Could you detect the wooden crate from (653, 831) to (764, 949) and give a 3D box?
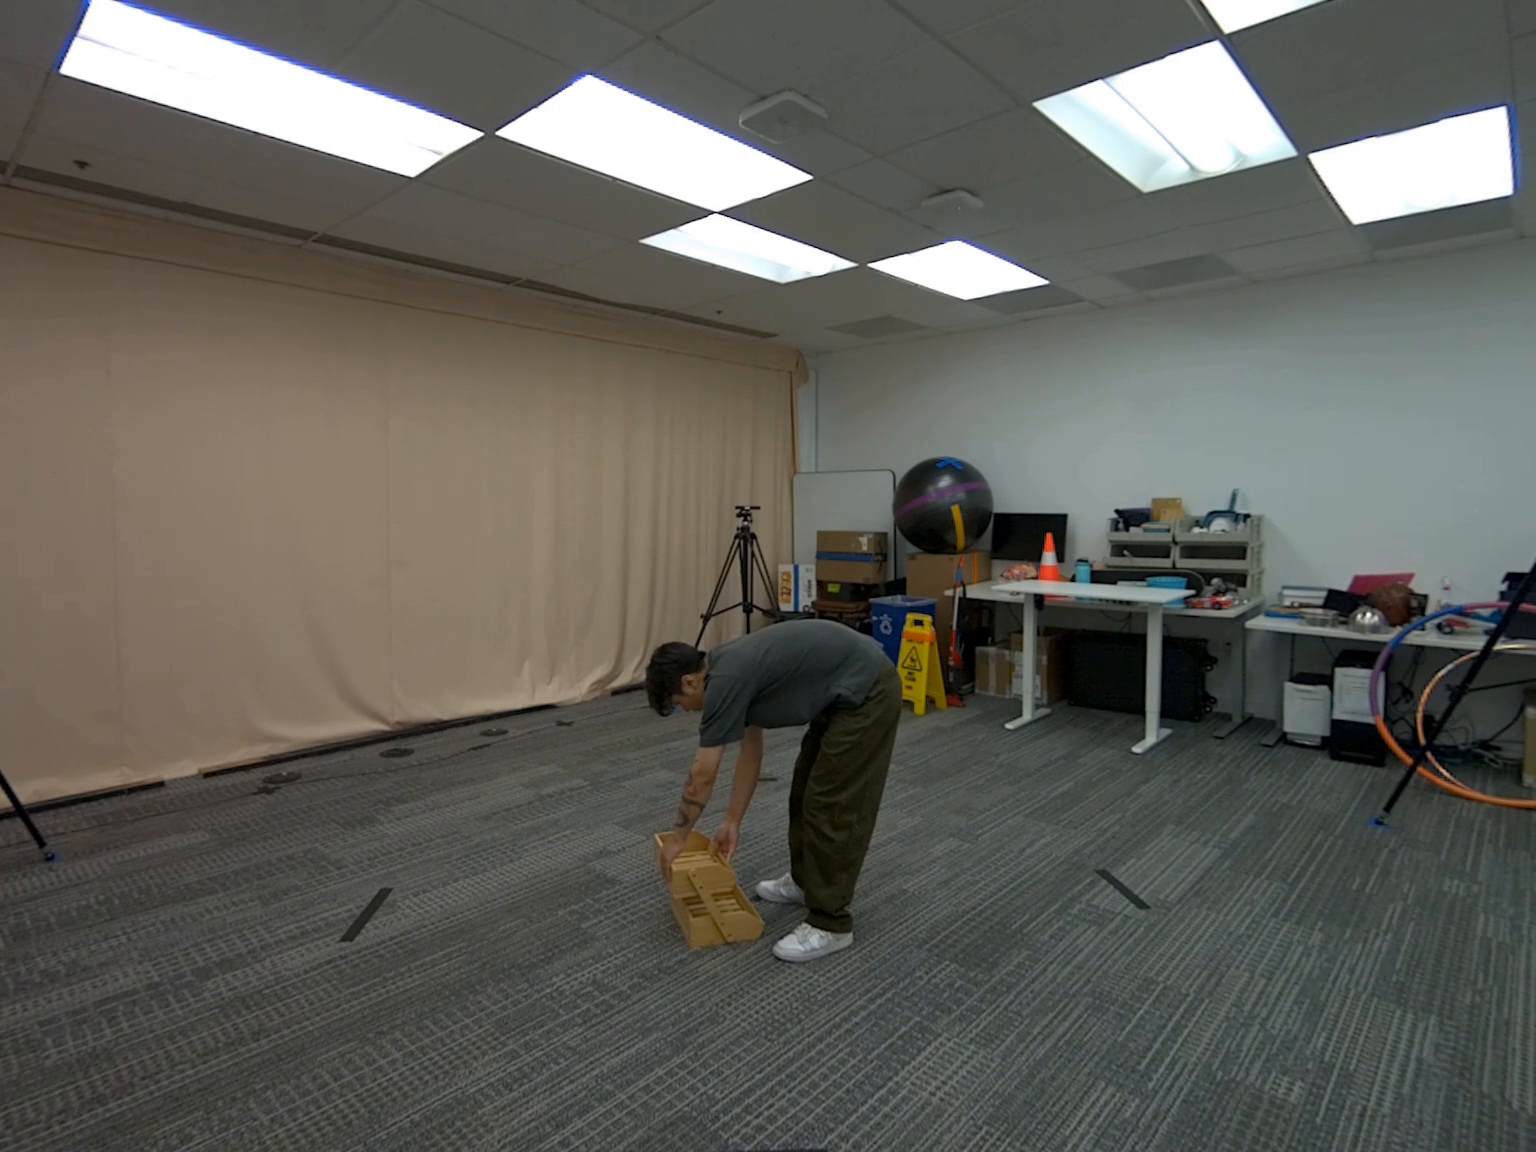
[{"bbox_3d":[-0.194,1.028,2.808,0.297,0.273,0.330,-1,4,-16],"label":"wooden crate"}]
